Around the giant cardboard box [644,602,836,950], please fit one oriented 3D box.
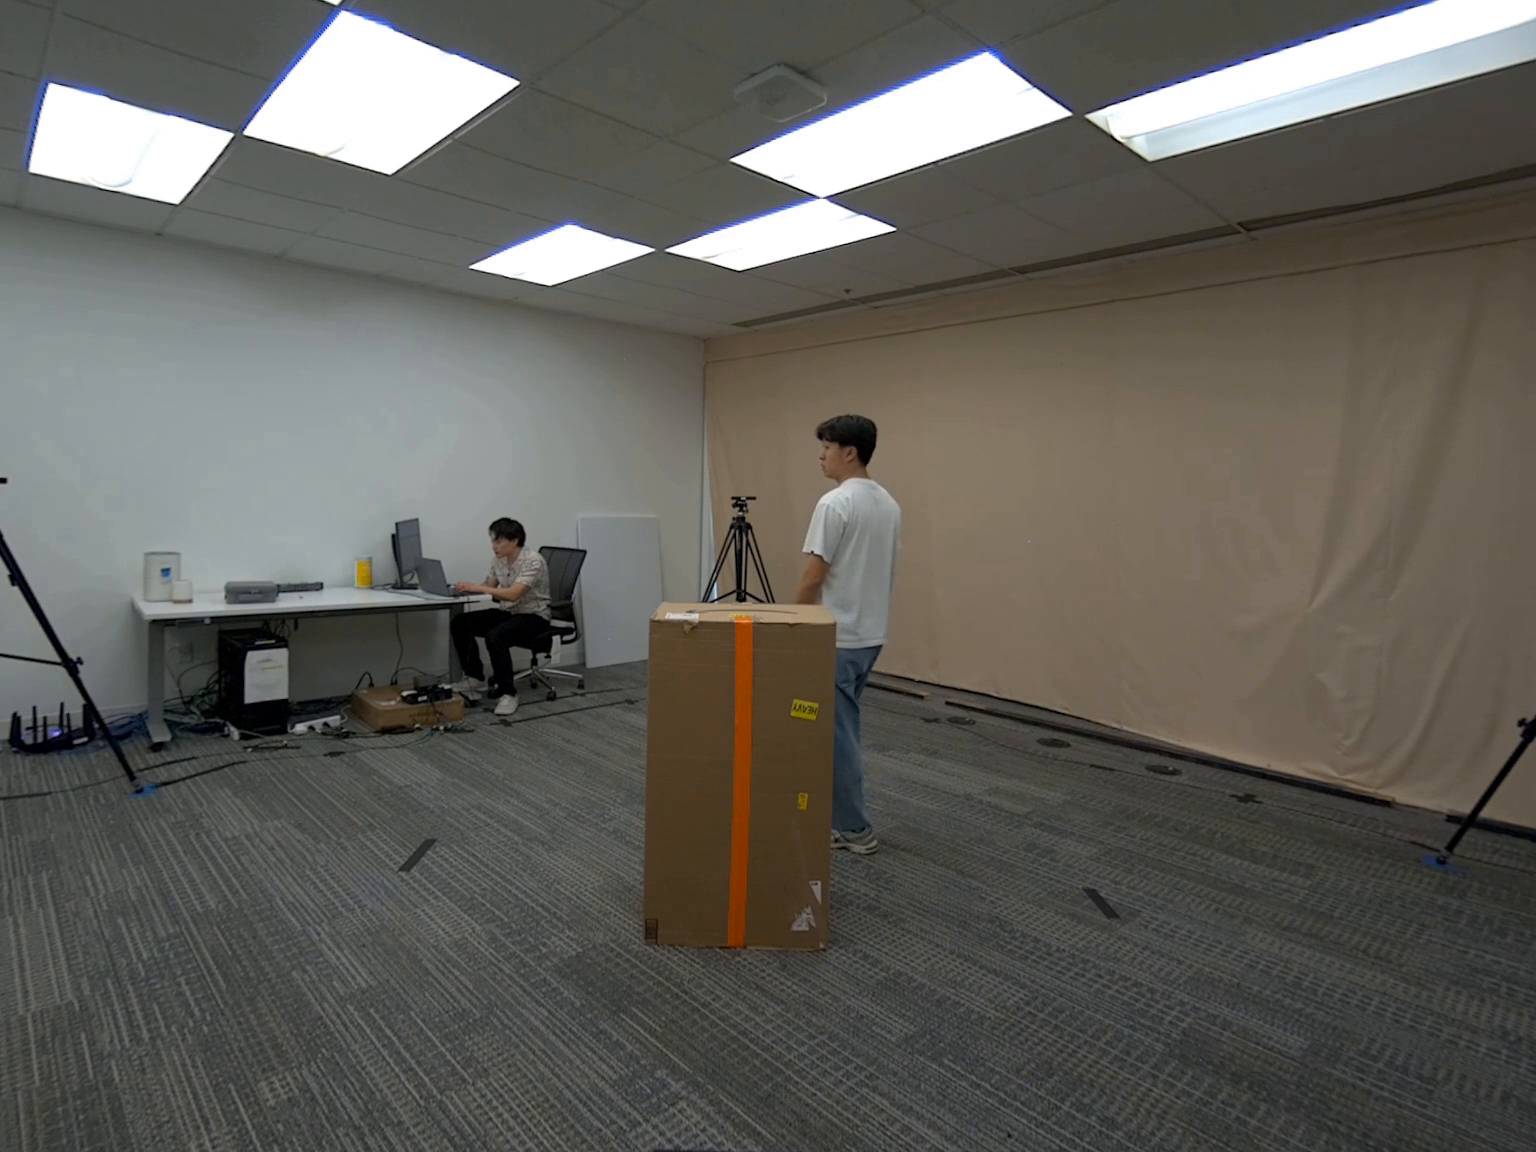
[{"bbox_3d":[-0.103,0.628,2.783,0.577,1.023,0.427,2,3,0],"label":"giant cardboard box"}]
